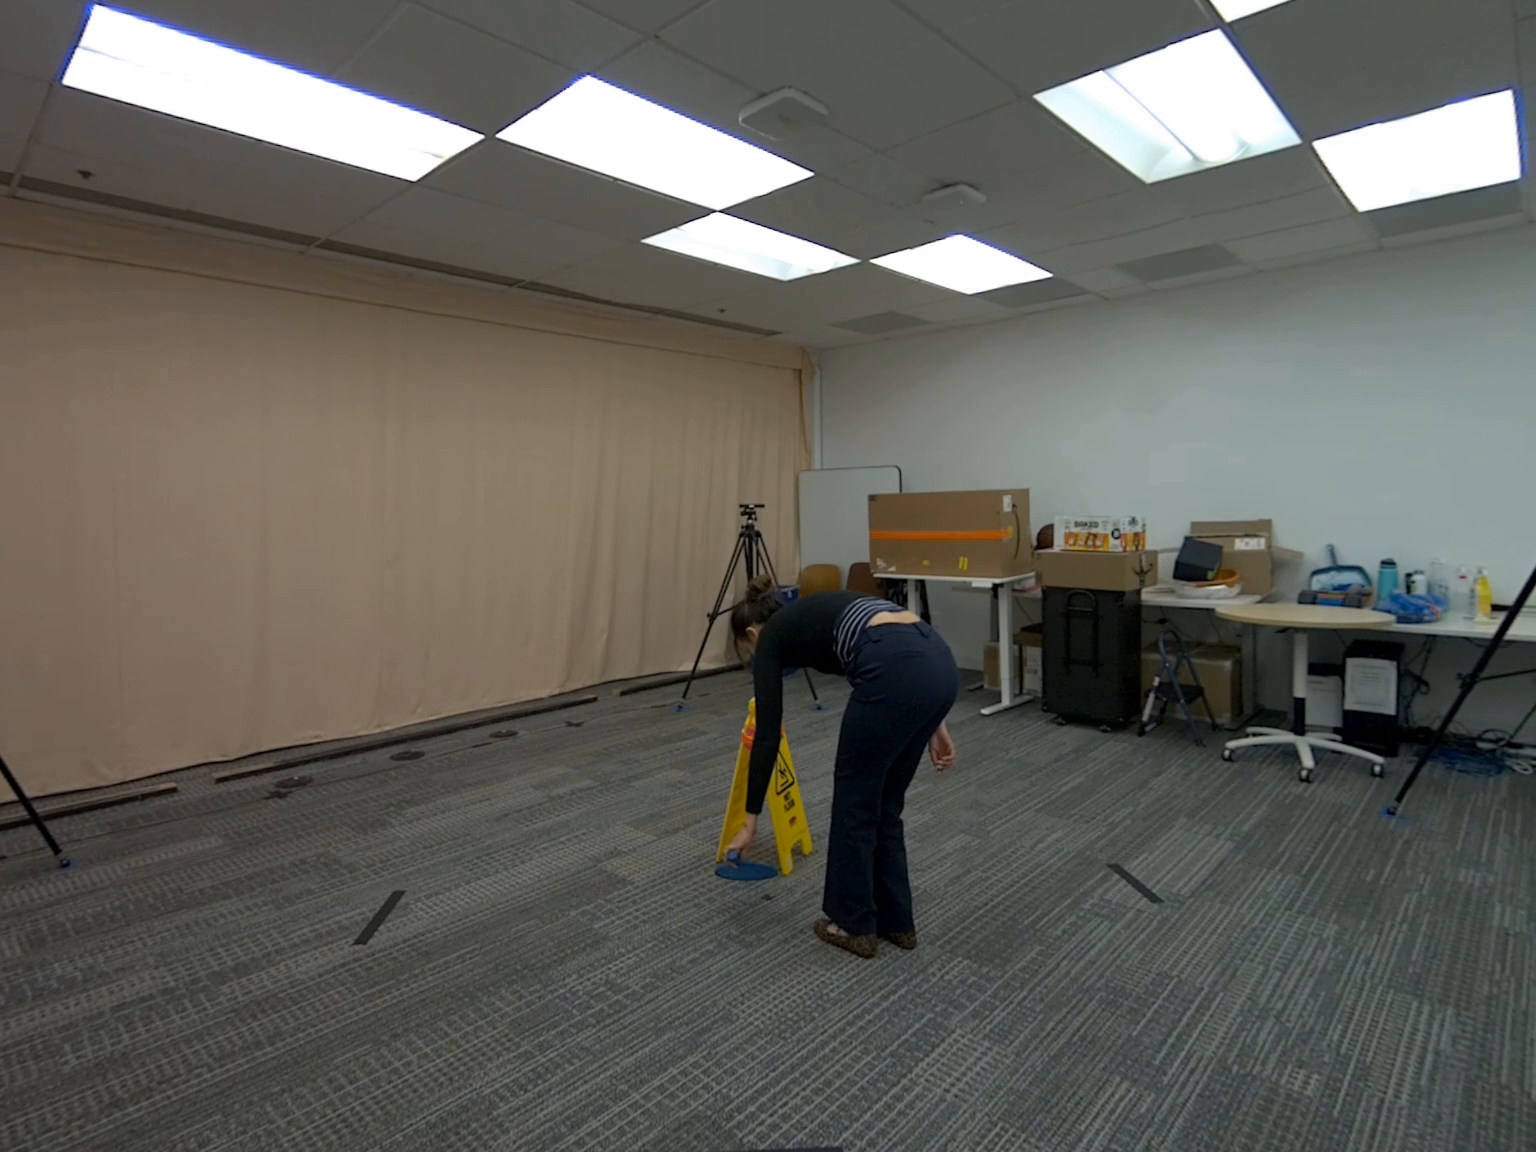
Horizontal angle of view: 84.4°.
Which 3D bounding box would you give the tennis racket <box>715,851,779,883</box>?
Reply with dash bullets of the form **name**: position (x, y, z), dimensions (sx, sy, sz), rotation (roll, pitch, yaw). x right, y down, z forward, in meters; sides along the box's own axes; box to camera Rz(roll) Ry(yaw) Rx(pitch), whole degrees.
- **tennis racket**: position (-0.100, 0.971, 2.778), dimensions (0.216, 0.032, 0.421), rotation (-6, -30, 10)
